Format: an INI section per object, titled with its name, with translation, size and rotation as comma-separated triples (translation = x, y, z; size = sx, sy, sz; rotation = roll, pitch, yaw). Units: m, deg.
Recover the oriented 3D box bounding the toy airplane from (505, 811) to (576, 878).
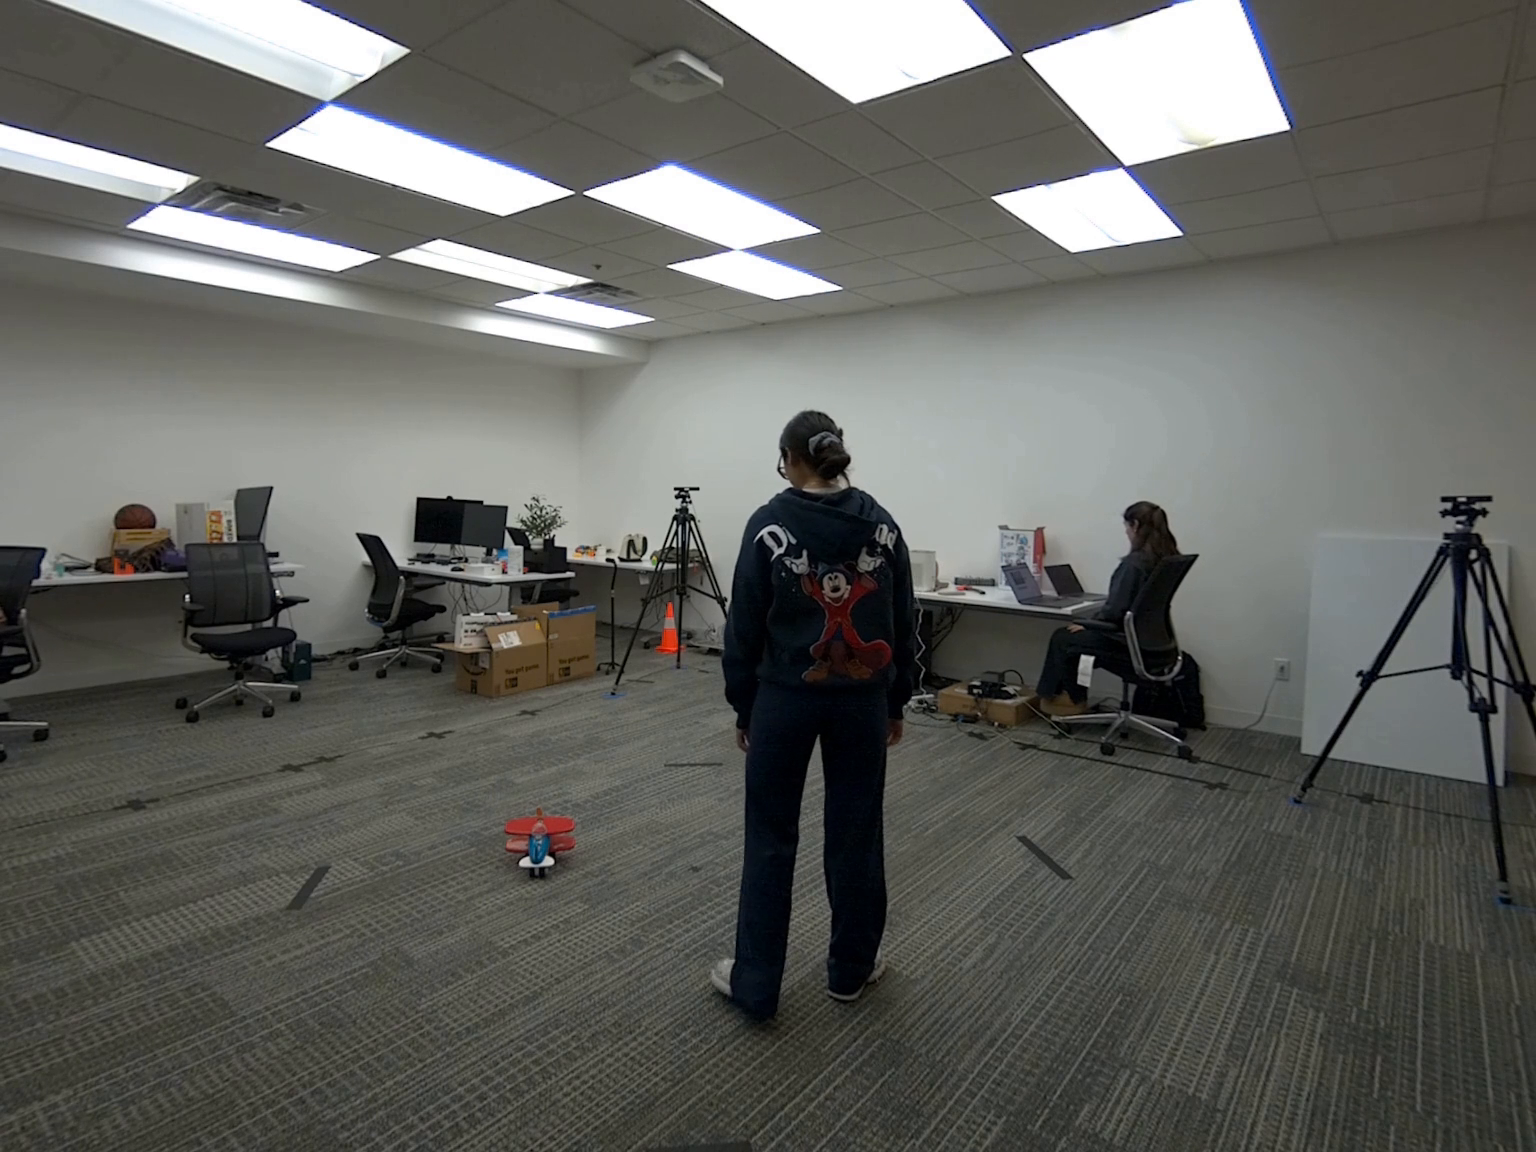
[toy airplane]
translation = -0.831, 0.981, 3.114
size = 0.244, 0.156, 0.267
rotation = -2, 5, -36
